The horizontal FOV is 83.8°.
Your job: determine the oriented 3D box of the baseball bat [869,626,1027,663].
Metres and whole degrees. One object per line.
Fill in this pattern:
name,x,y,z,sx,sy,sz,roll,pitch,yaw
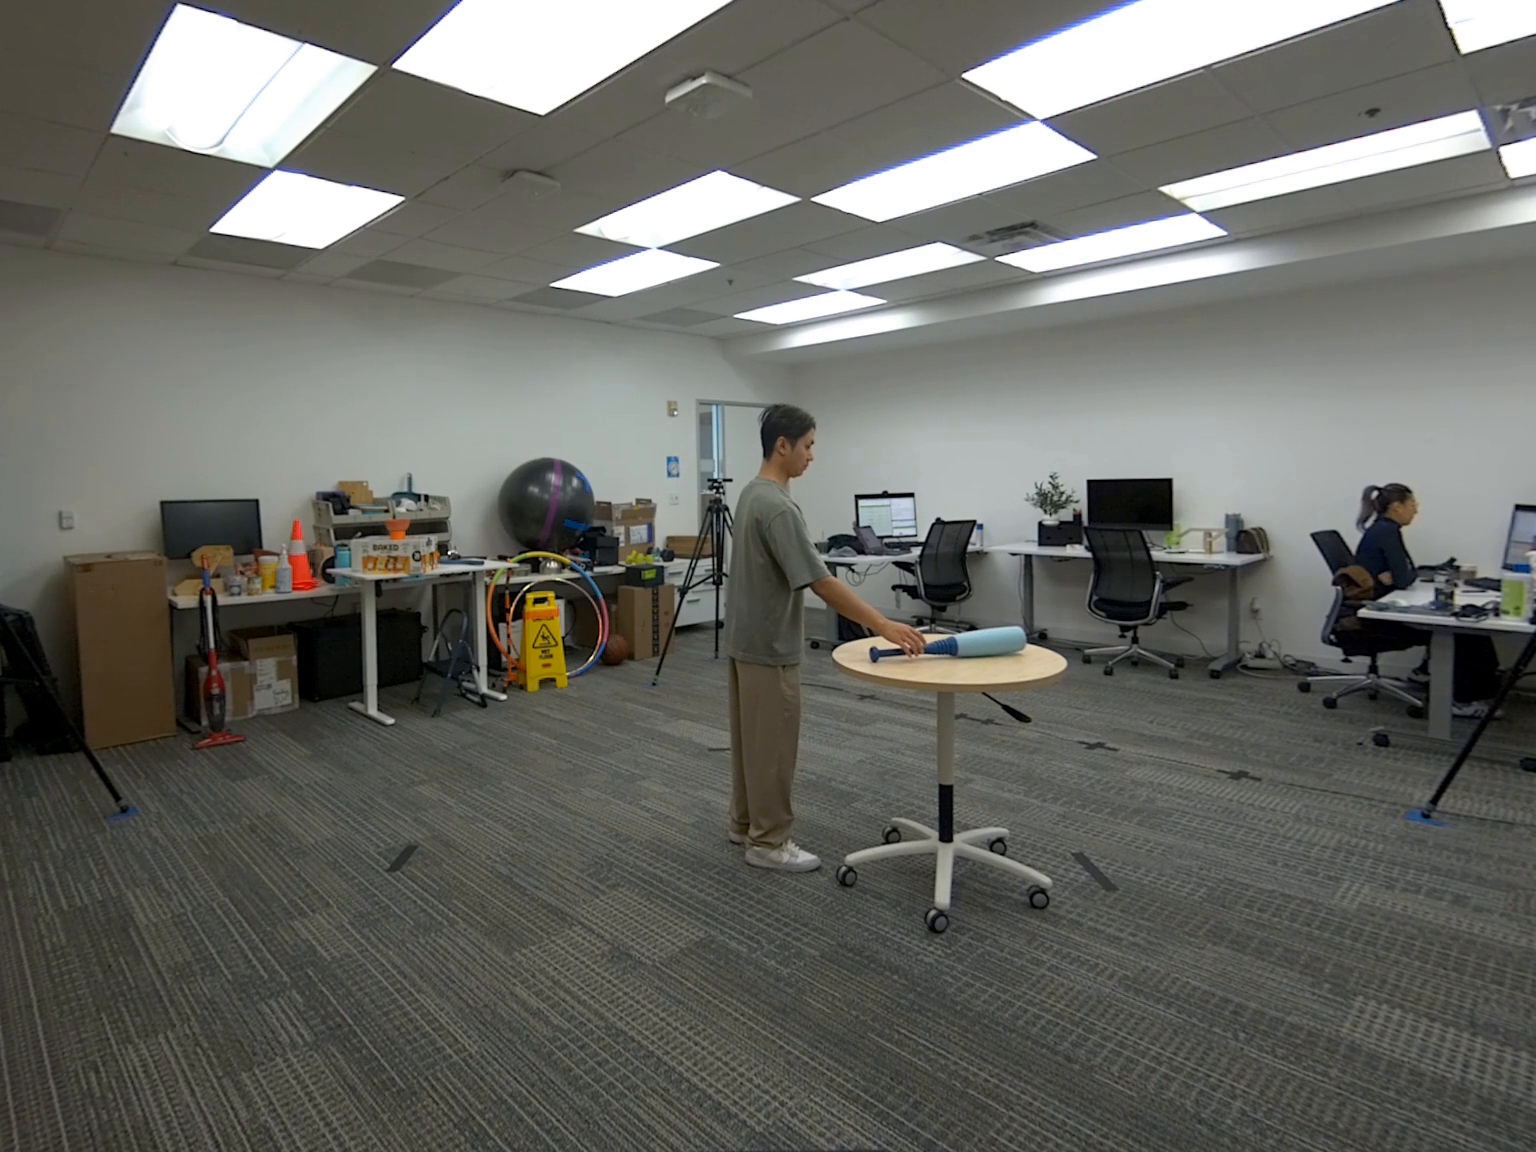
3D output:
baseball bat,0.613,0.237,2.871,0.538,0.088,0.090,-6,6,-10
